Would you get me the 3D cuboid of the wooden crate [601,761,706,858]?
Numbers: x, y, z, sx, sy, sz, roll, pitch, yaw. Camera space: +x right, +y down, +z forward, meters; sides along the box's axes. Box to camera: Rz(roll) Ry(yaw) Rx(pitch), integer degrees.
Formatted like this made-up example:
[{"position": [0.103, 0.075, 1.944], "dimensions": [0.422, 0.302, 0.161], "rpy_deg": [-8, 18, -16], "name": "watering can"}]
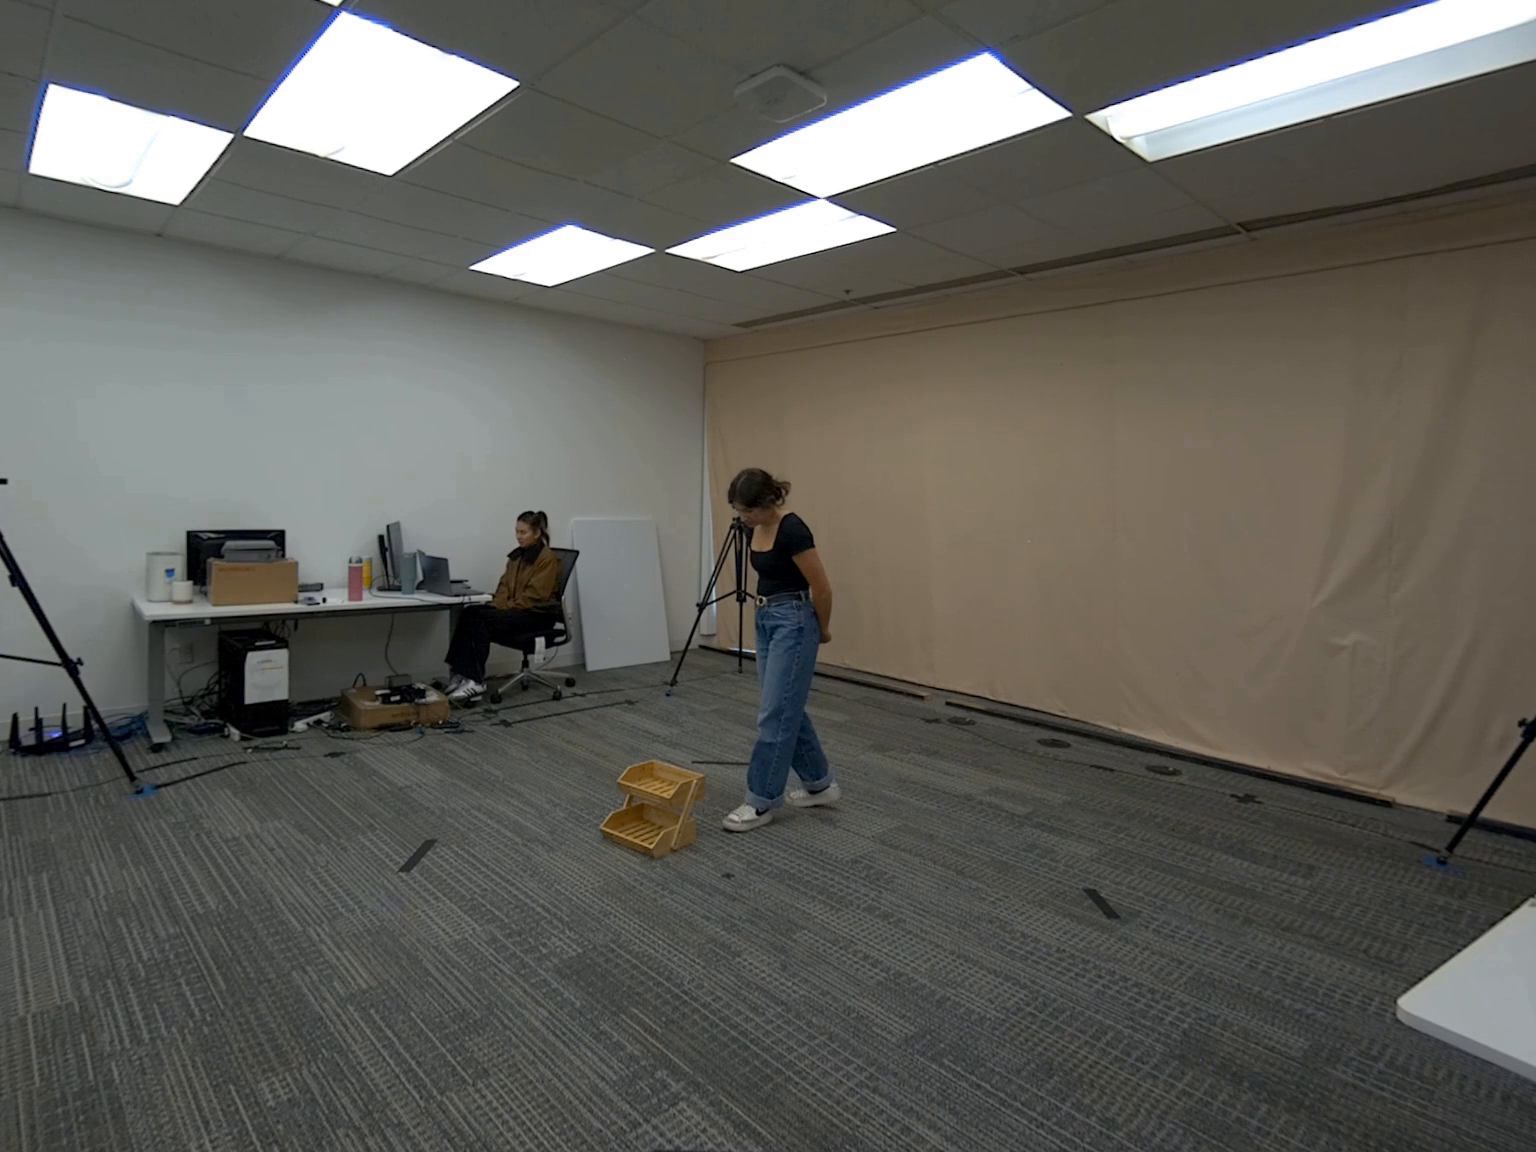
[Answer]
[{"position": [-0.480, 0.939, 3.426], "dimensions": [0.332, 0.273, 0.295], "rpy_deg": [5, 5, 38], "name": "wooden crate"}]
